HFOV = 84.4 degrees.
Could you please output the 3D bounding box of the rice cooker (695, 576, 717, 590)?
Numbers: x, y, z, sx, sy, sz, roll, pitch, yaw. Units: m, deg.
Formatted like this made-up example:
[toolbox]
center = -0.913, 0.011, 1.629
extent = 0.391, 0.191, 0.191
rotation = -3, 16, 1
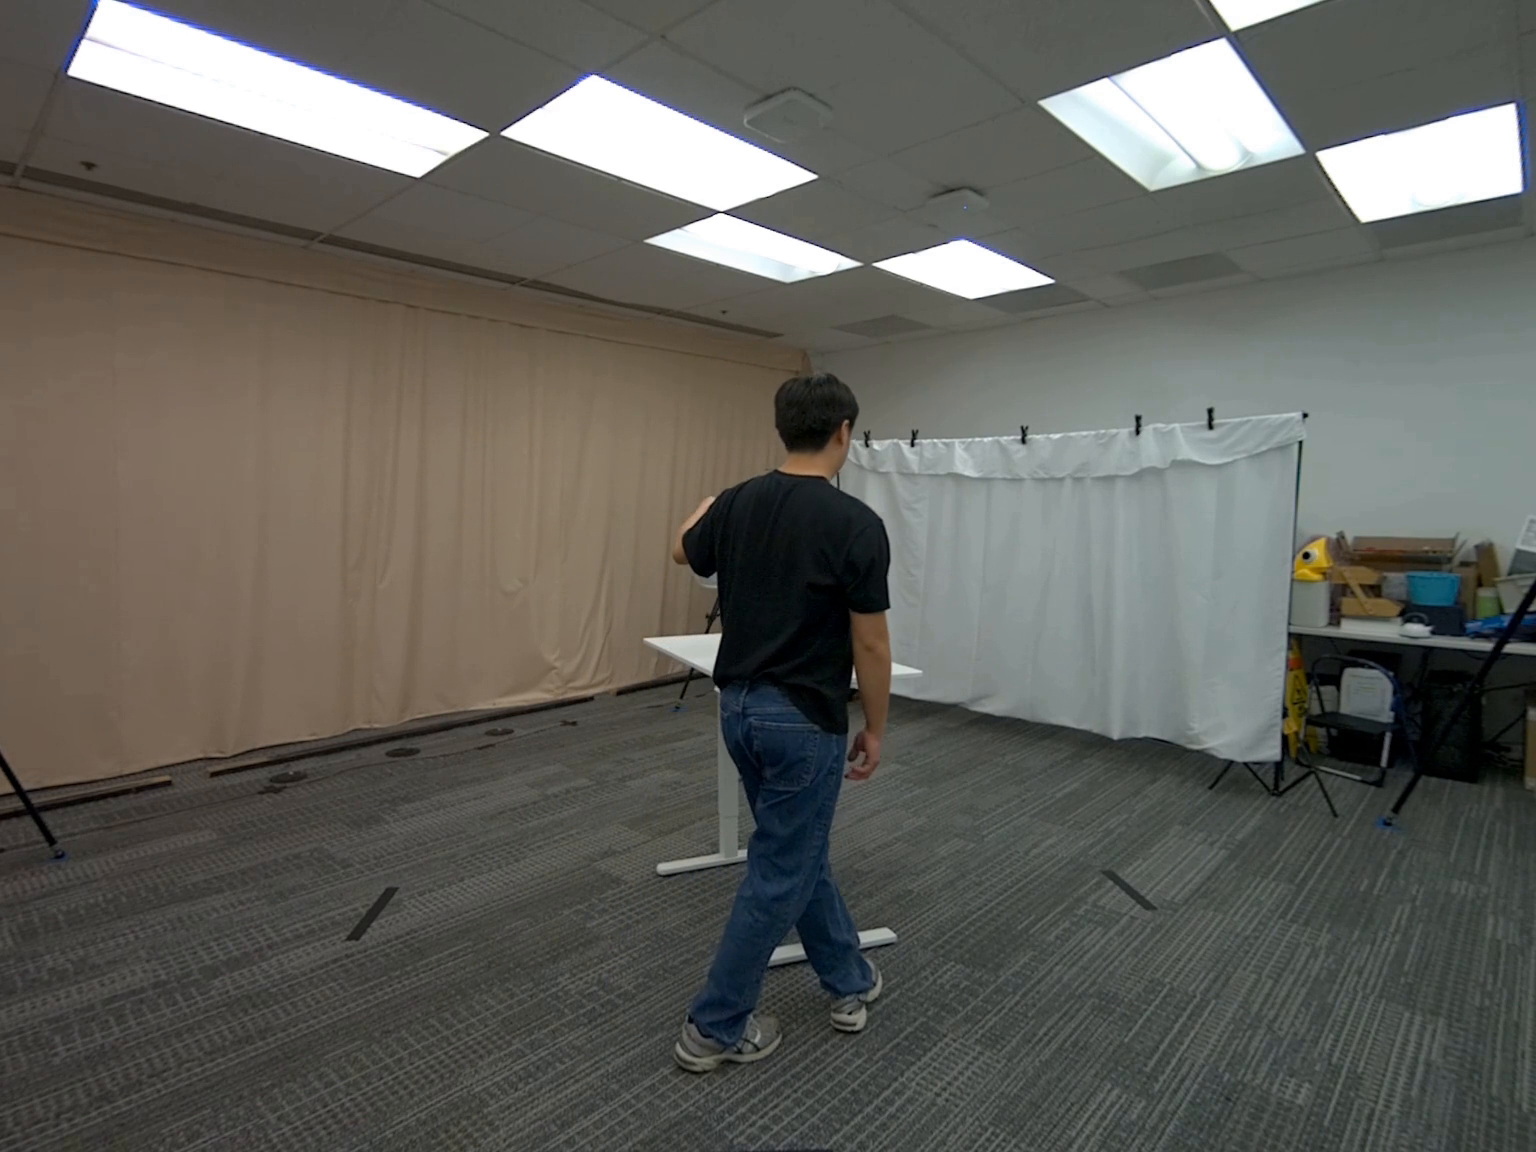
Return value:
[rice cooker]
center = -0.154, -0.095, 2.709
extent = 0.216, 0.230, 0.225
rotation = -27, 21, -38
